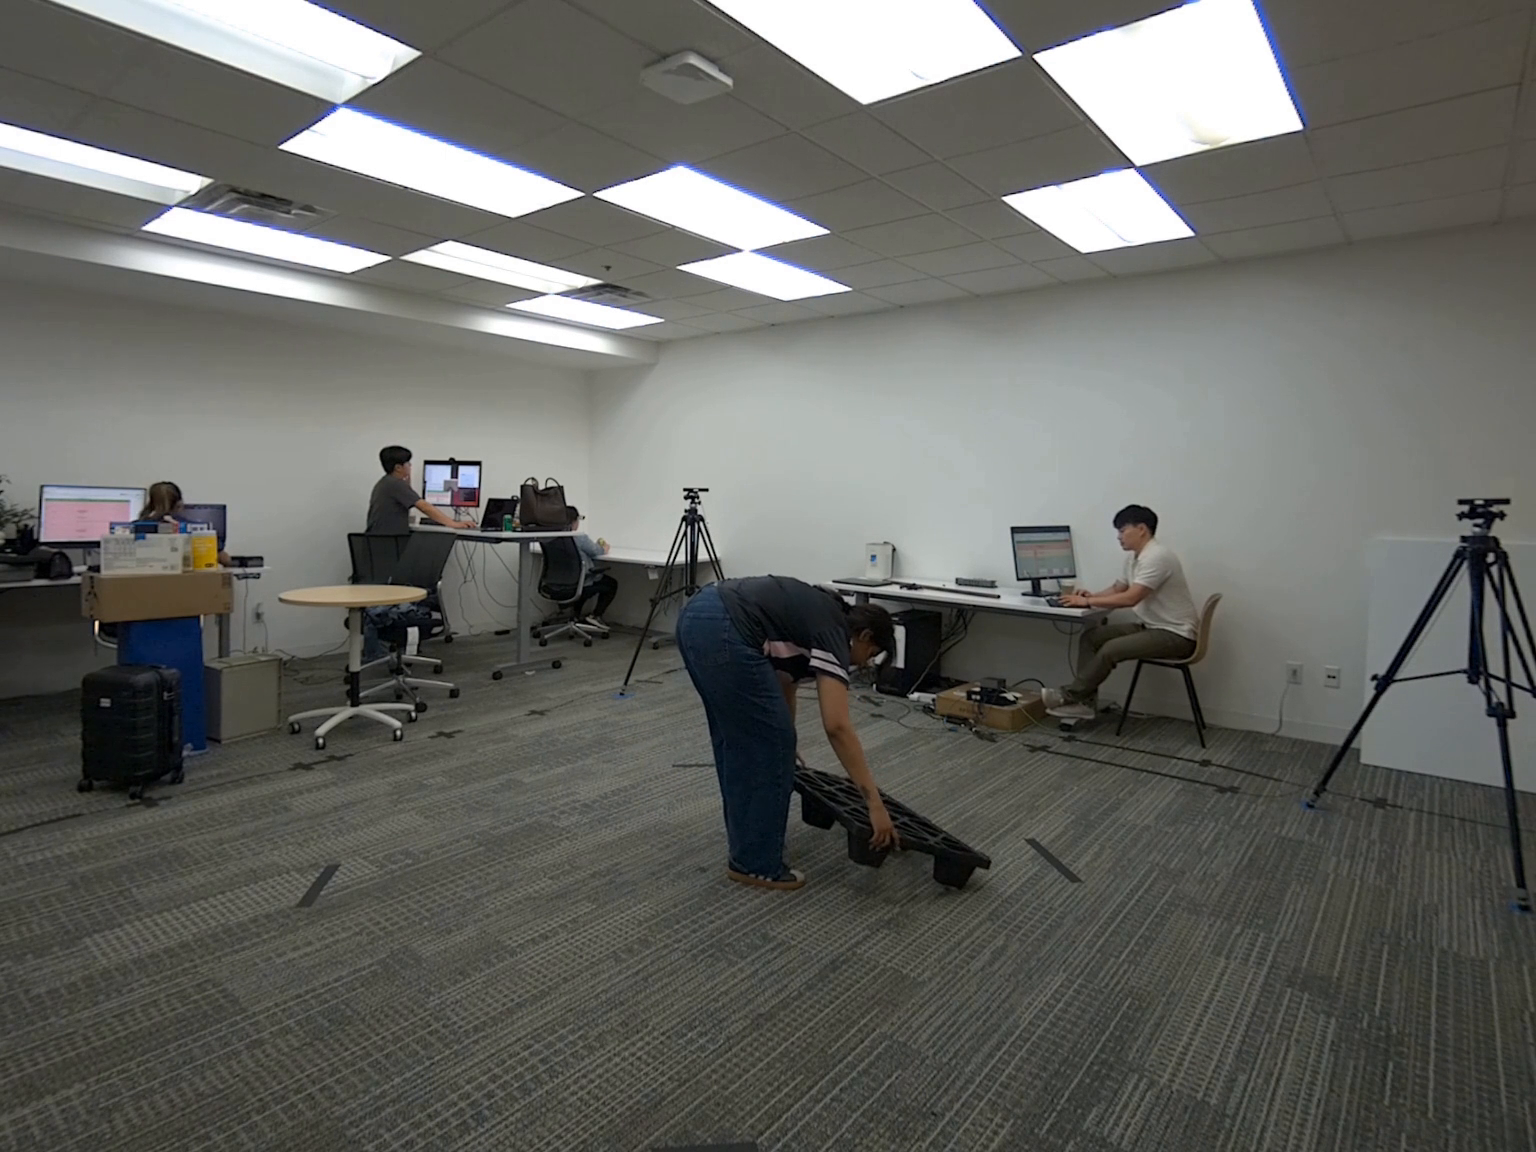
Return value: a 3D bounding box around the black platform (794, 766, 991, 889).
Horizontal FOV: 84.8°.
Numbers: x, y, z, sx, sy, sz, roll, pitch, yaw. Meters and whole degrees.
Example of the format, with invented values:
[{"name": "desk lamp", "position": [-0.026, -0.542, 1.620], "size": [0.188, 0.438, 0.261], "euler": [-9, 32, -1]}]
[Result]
[{"name": "black platform", "position": [0.358, 0.923, 3.258], "size": [0.588, 0.143, 0.827], "euler": [20, -3, -24]}]
